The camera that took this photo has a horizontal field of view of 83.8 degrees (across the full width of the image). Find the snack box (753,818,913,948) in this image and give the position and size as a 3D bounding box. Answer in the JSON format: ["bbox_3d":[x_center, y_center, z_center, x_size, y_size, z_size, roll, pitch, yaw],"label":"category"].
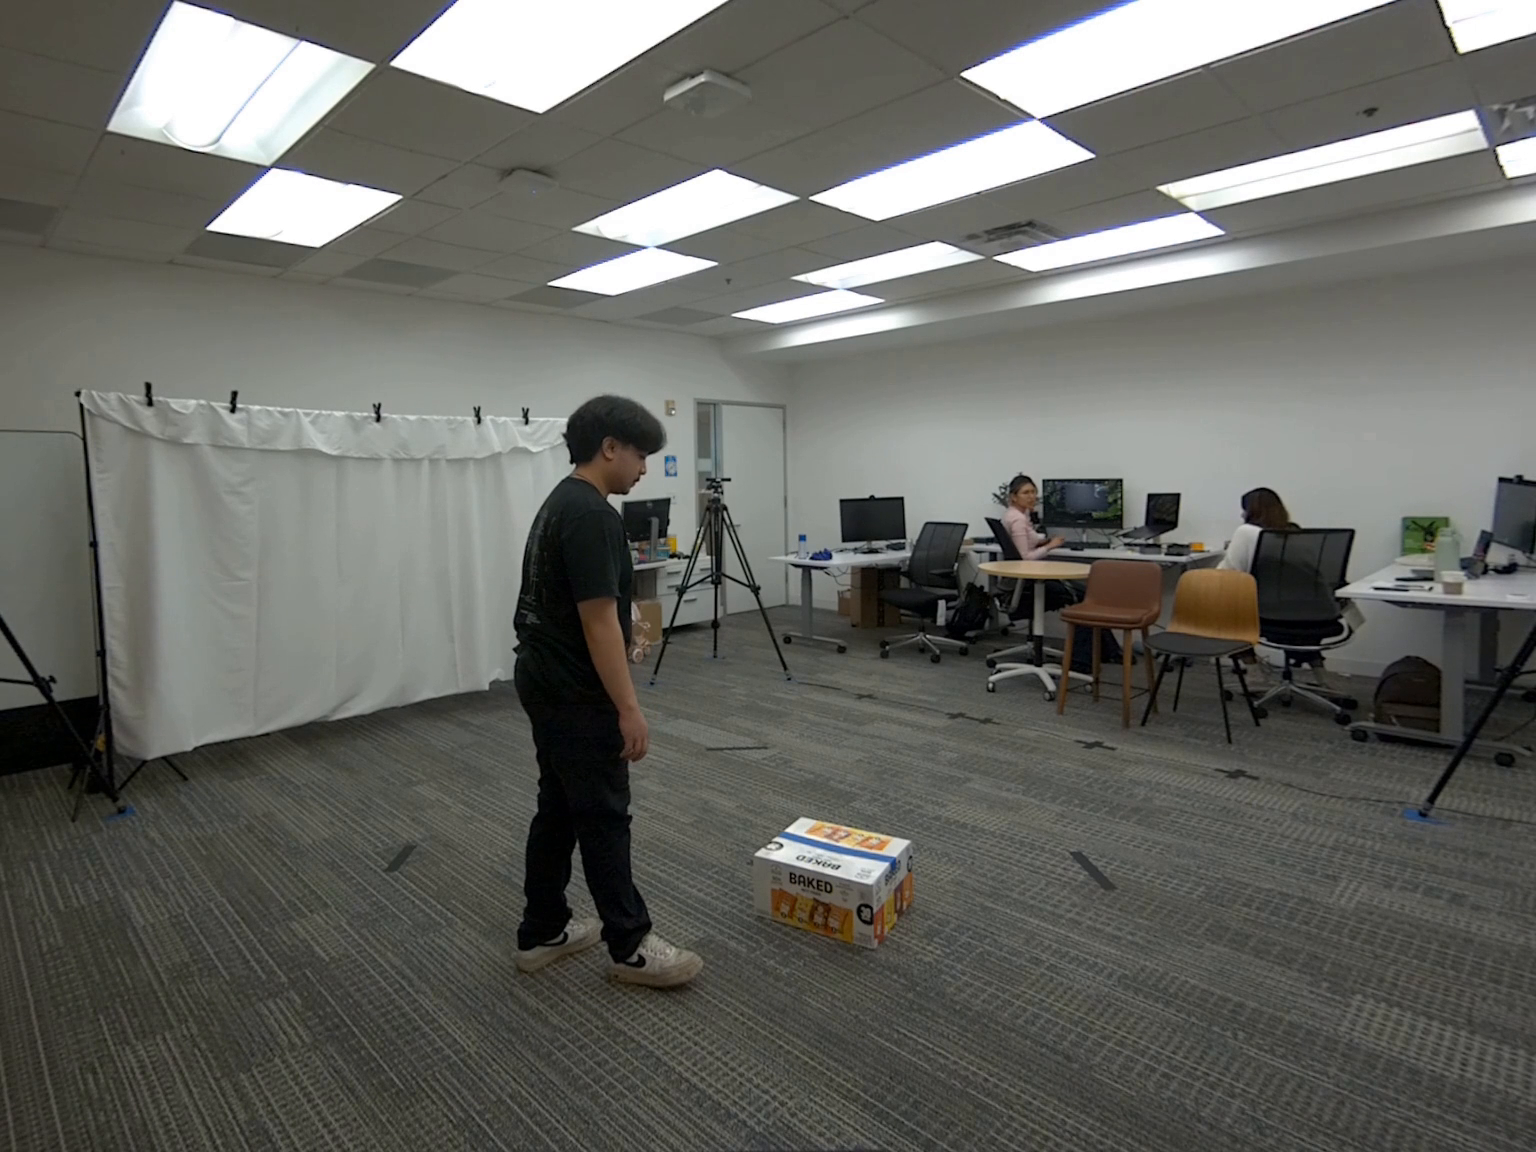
[{"bbox_3d":[0.216,0.974,2.756,0.416,0.205,0.333,2,7,30],"label":"snack box"}]
